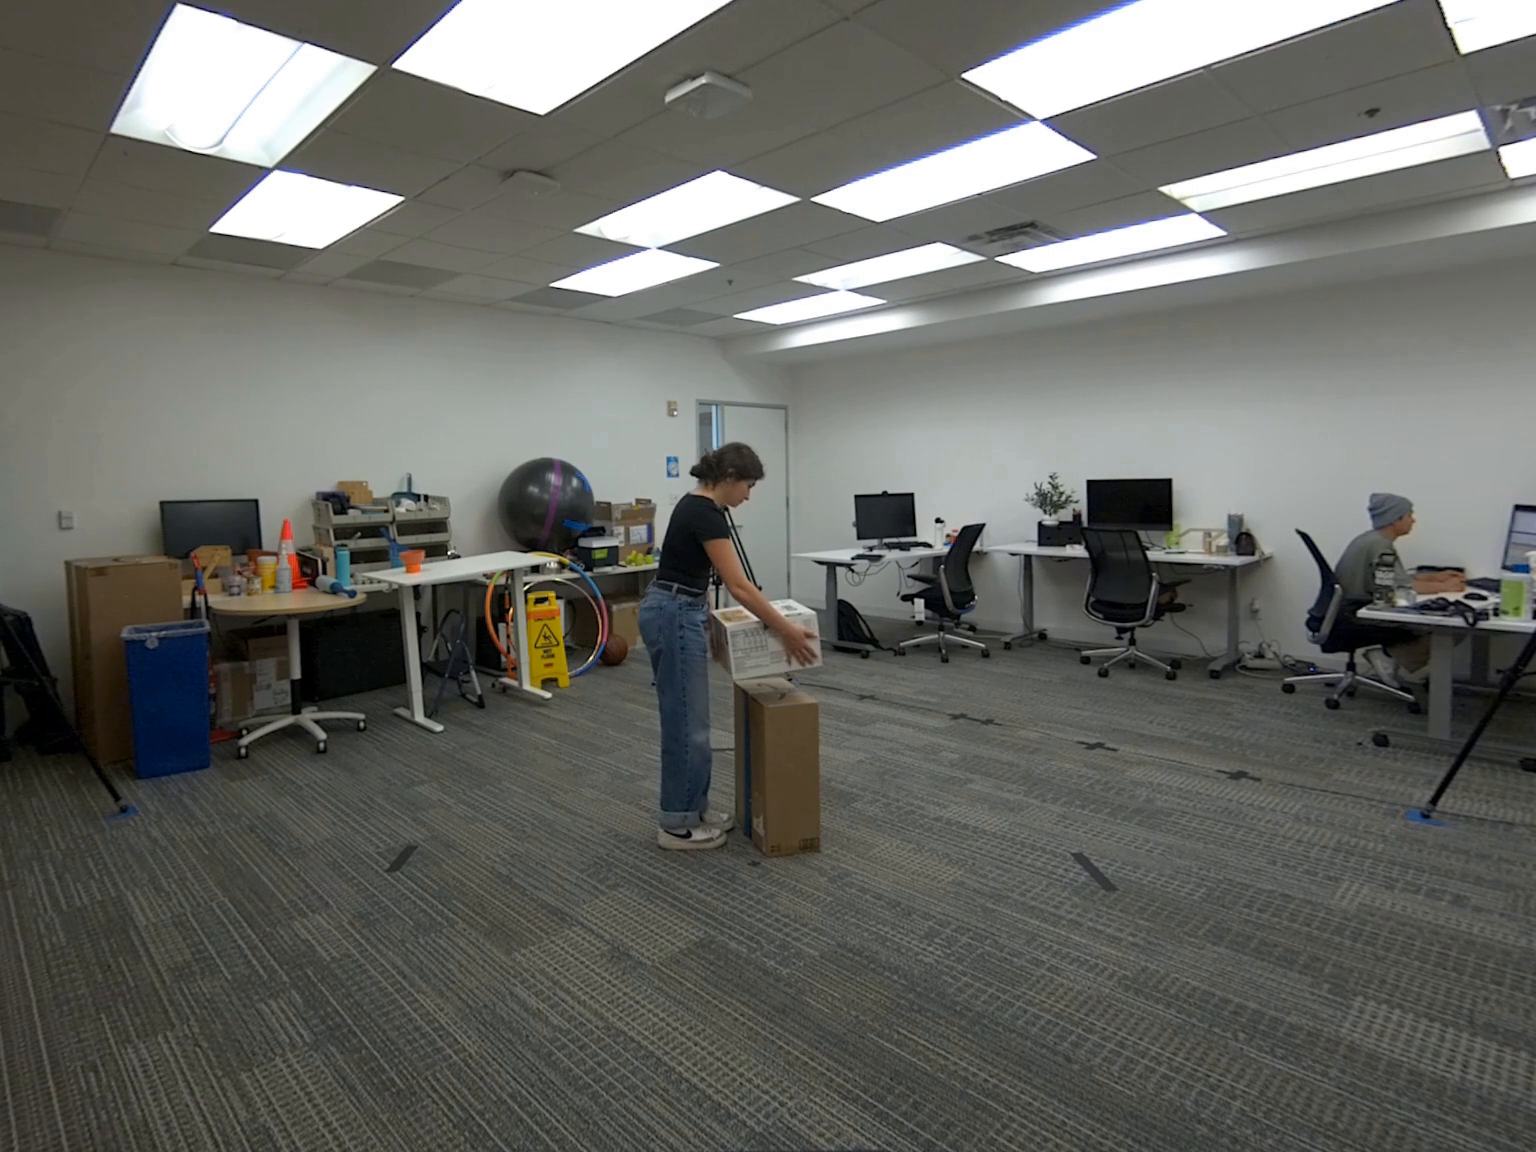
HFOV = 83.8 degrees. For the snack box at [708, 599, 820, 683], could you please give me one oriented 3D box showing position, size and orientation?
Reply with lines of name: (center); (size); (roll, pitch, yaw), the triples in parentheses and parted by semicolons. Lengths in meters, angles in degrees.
snack box: (-0.019, 0.239, 3.303); (0.337, 0.204, 0.411); (-8, 7, -10)
